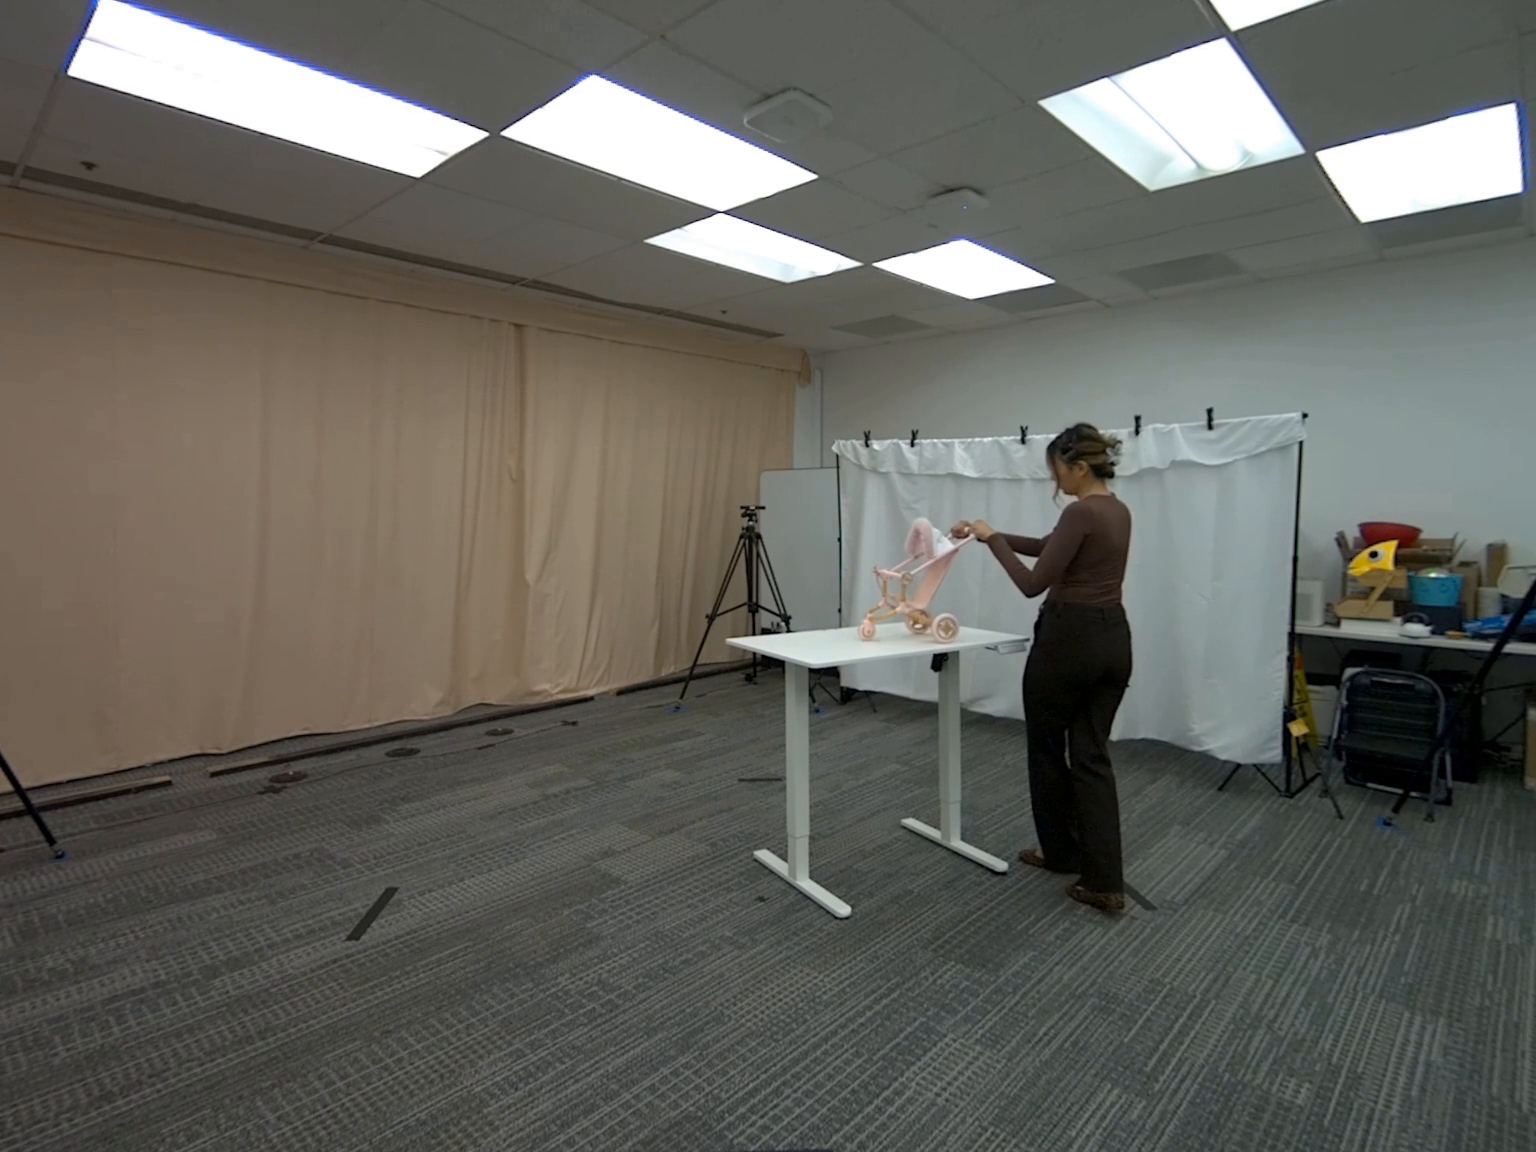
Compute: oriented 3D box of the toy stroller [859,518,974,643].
[{"bbox_3d":[0.566,0.021,3.202,0.339,0.535,0.284,15,1,-7],"label":"toy stroller"}]
